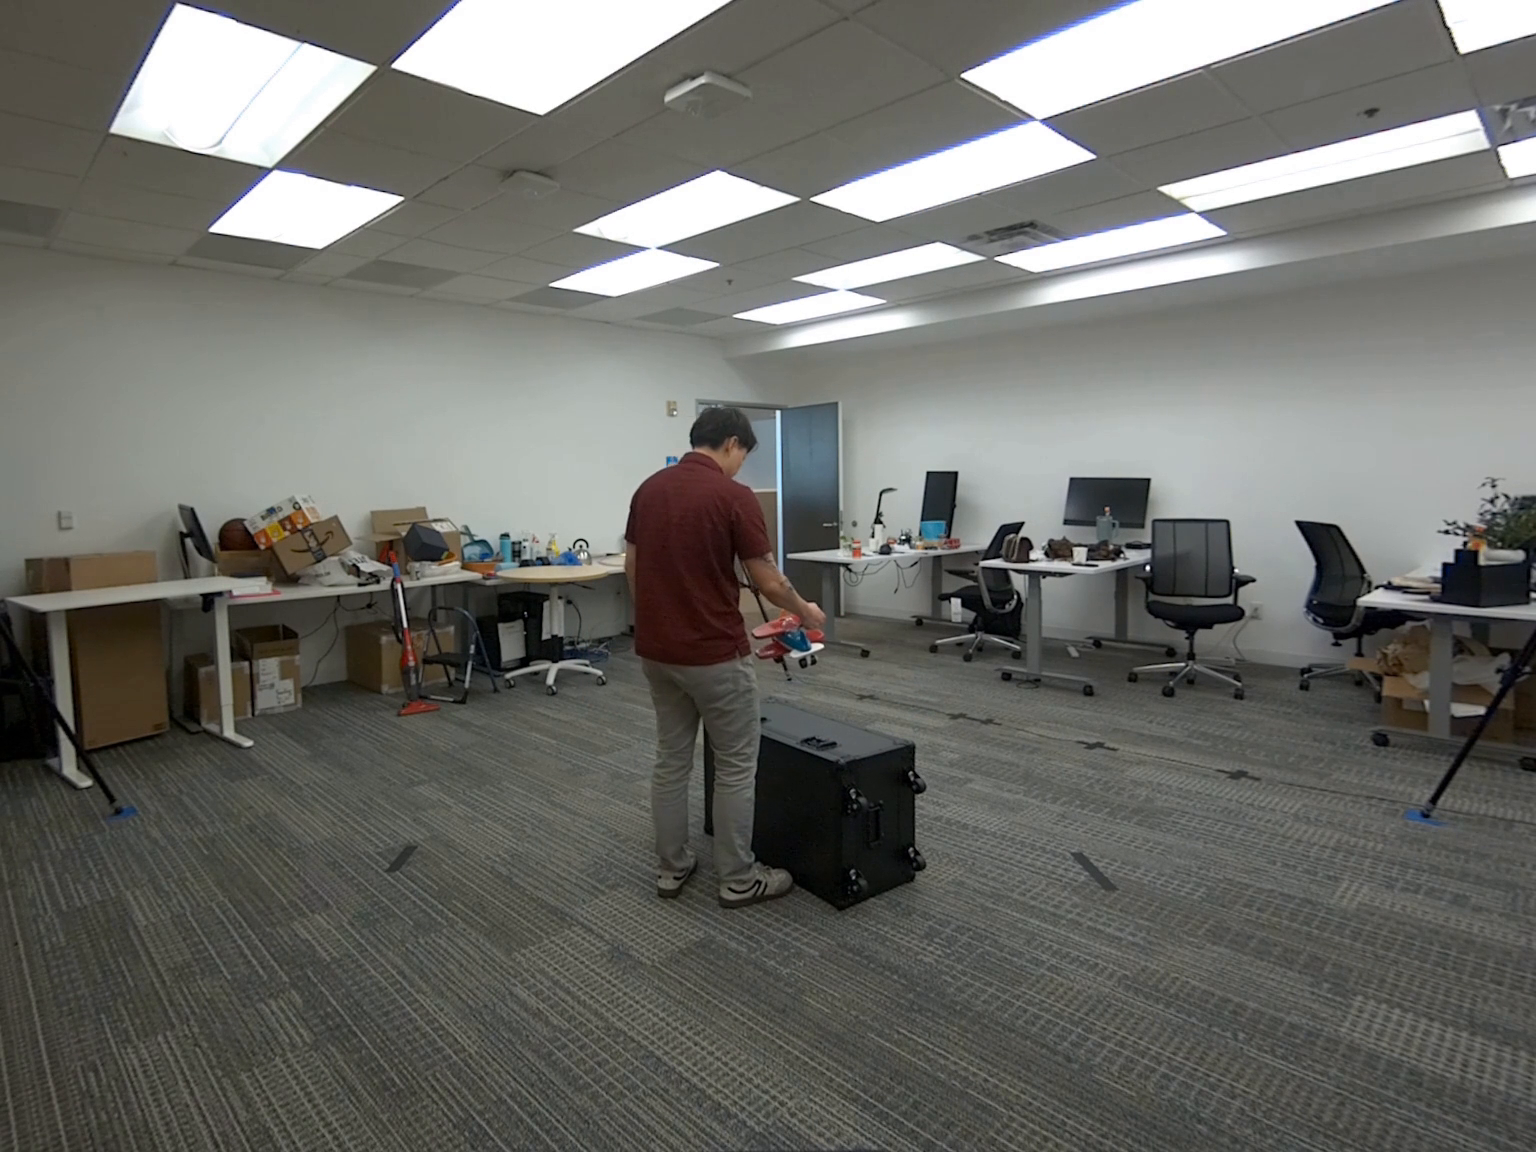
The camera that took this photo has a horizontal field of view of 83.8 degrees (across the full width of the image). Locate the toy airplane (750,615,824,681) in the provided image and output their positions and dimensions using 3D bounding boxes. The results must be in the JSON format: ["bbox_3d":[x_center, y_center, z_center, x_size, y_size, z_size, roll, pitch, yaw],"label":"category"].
[{"bbox_3d":[0.109,0.226,2.968,0.265,0.155,0.247,-8,11,43],"label":"toy airplane"}]
